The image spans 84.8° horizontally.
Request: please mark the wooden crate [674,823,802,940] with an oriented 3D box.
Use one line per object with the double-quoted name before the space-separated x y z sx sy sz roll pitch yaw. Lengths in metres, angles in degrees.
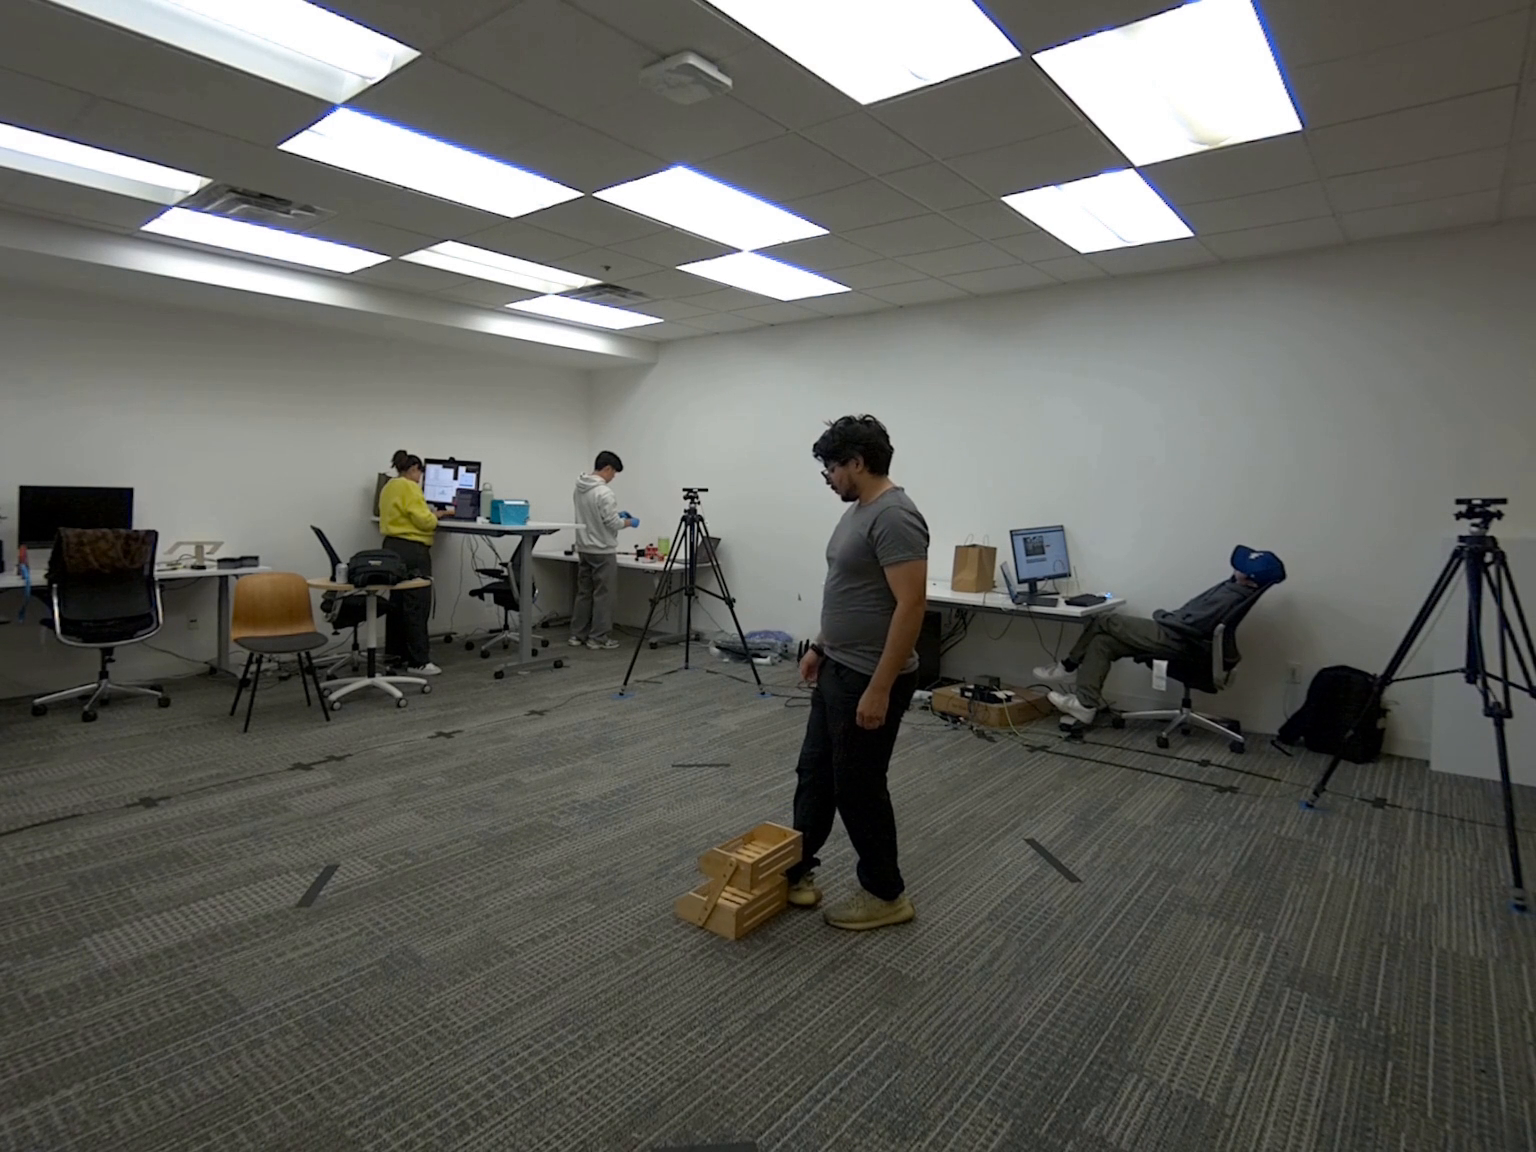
"wooden crate" -0.104 0.969 2.791 0.312 0.272 0.315 5 5 35
